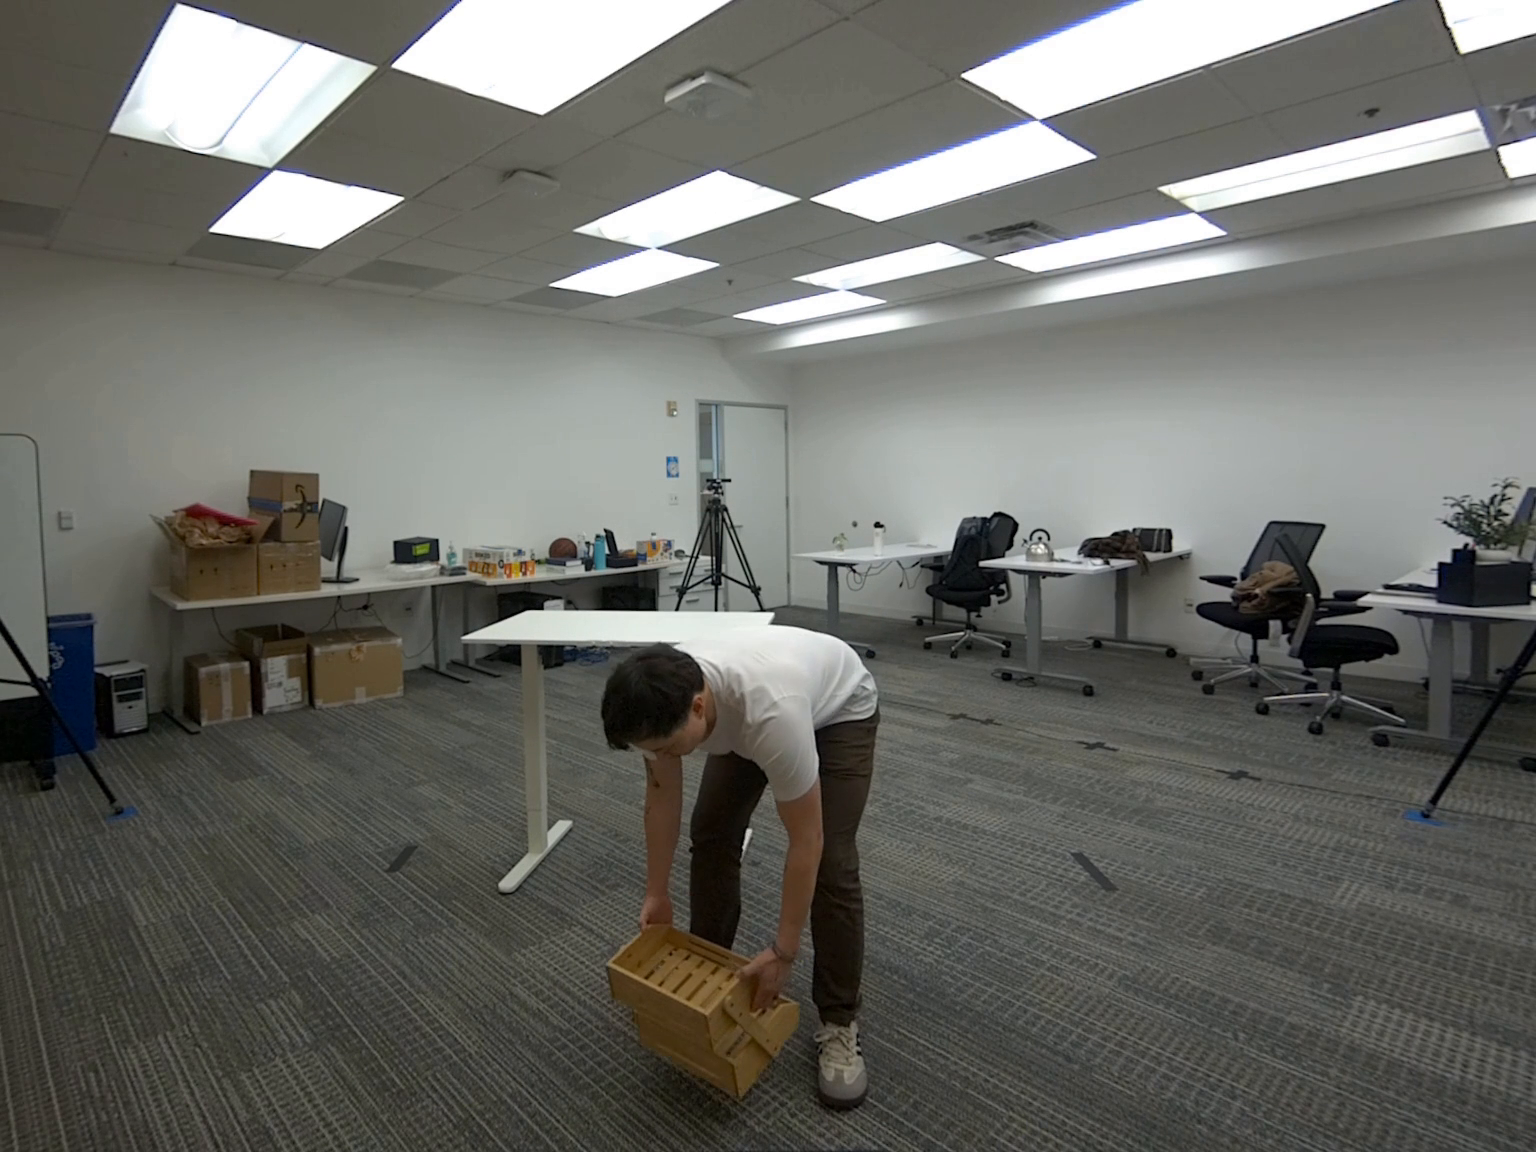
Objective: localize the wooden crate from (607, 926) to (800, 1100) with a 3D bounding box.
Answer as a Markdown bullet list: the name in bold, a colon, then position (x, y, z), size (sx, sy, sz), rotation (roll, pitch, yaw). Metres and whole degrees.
- **wooden crate**: position (-0.135, 0.955, 1.966), size (0.334, 0.269, 0.297), rotation (3, 19, 37)
